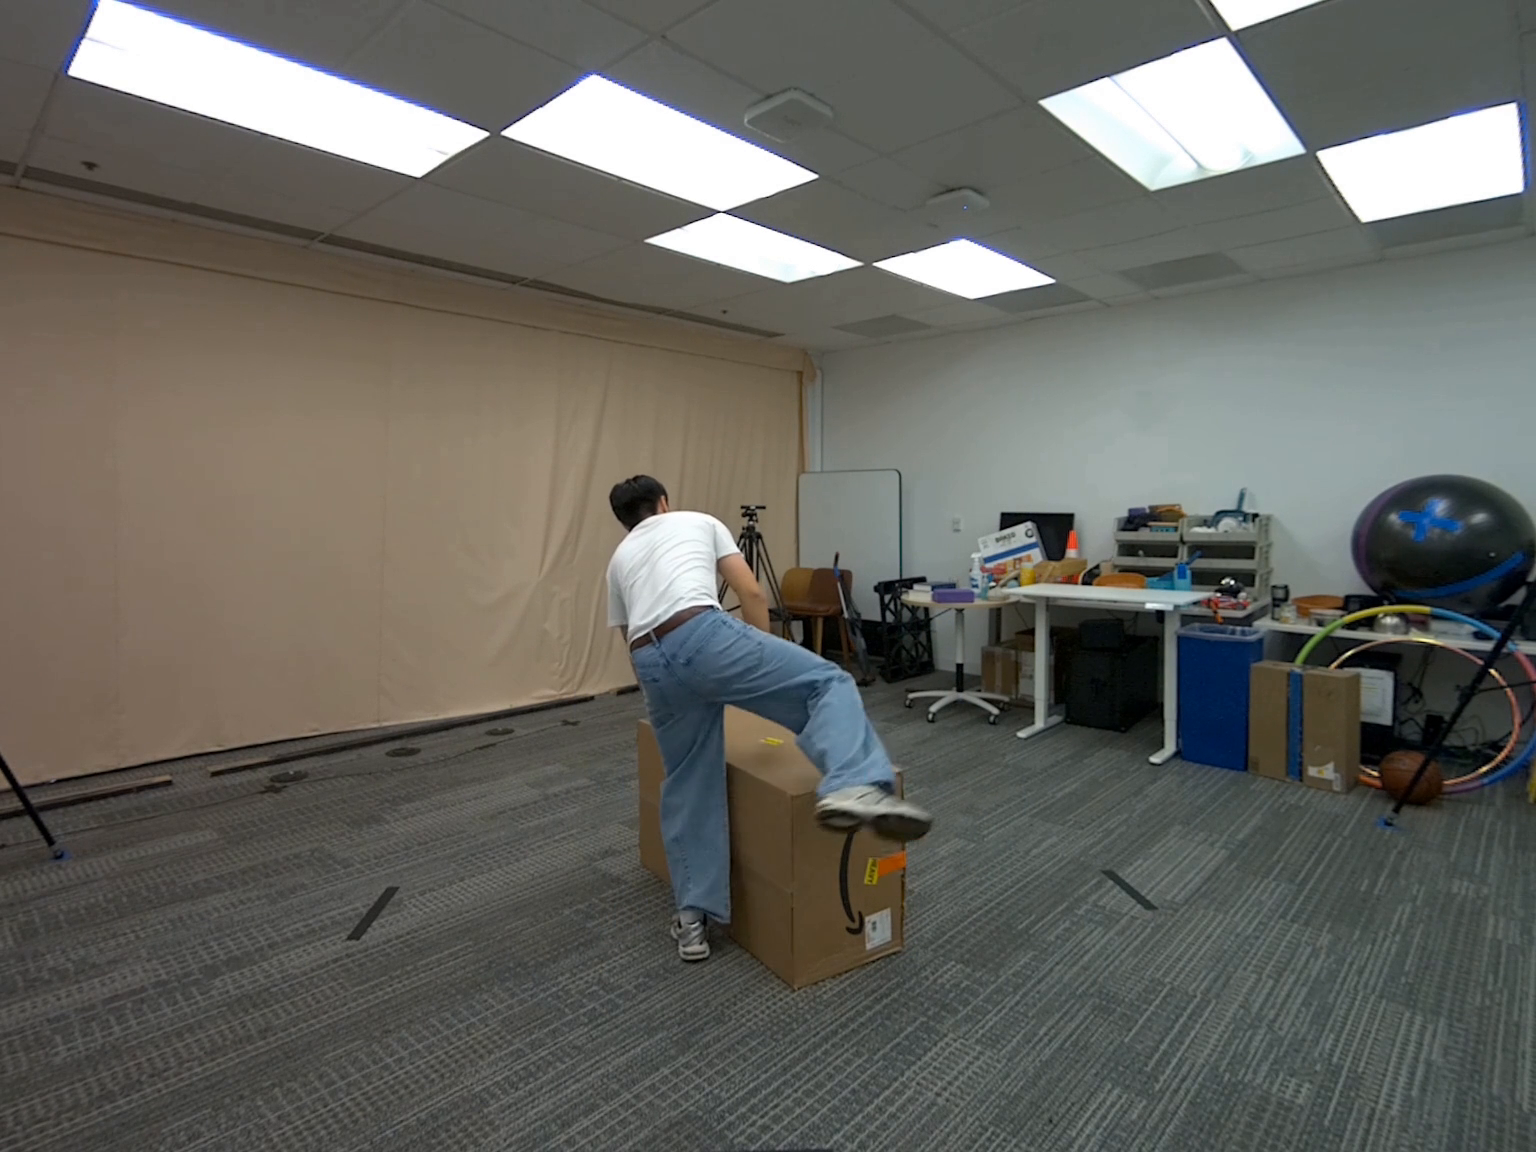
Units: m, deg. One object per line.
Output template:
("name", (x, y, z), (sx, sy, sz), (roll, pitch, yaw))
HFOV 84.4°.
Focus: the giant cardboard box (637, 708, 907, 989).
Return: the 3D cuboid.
("giant cardboard box", (-0.035, 0.860, 2.942), (0.414, 0.576, 1.057), (-3, 5, -33))
